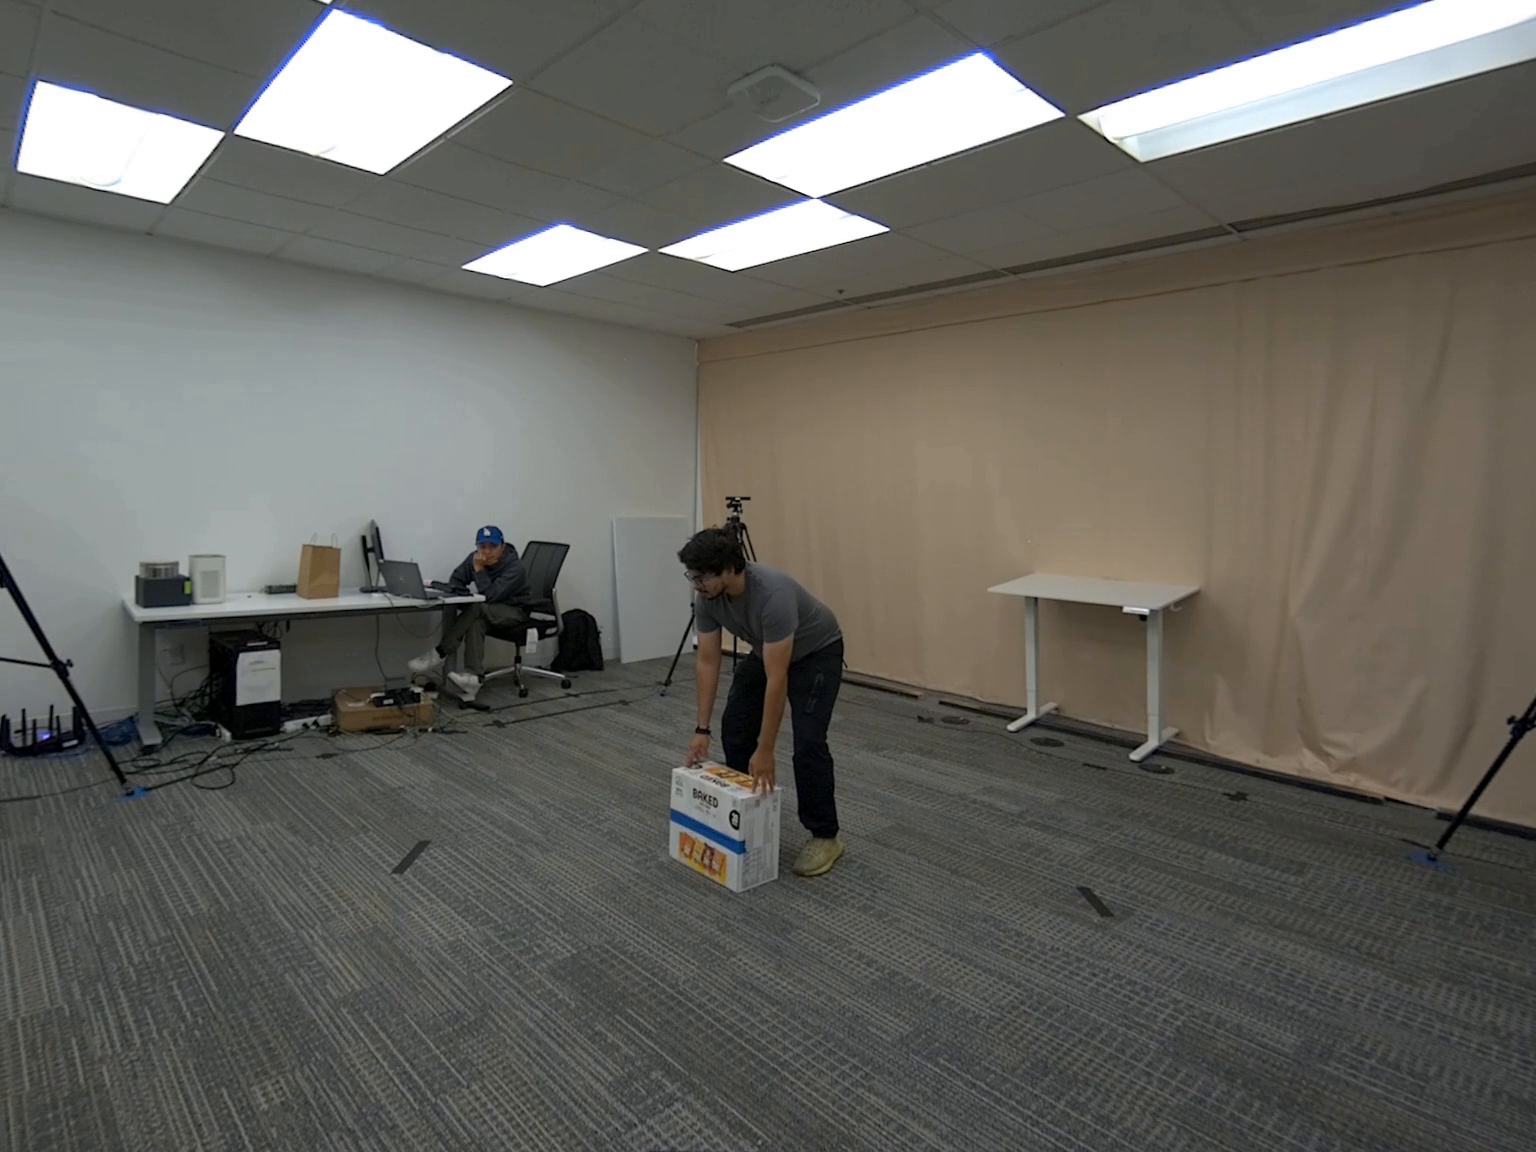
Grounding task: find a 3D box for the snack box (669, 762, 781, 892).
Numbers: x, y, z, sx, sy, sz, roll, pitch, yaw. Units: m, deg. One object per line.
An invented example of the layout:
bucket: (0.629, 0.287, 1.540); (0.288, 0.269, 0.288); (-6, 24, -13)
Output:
snack box: (-0.170, 0.928, 3.169); (0.201, 0.339, 0.416); (0, 5, -44)
